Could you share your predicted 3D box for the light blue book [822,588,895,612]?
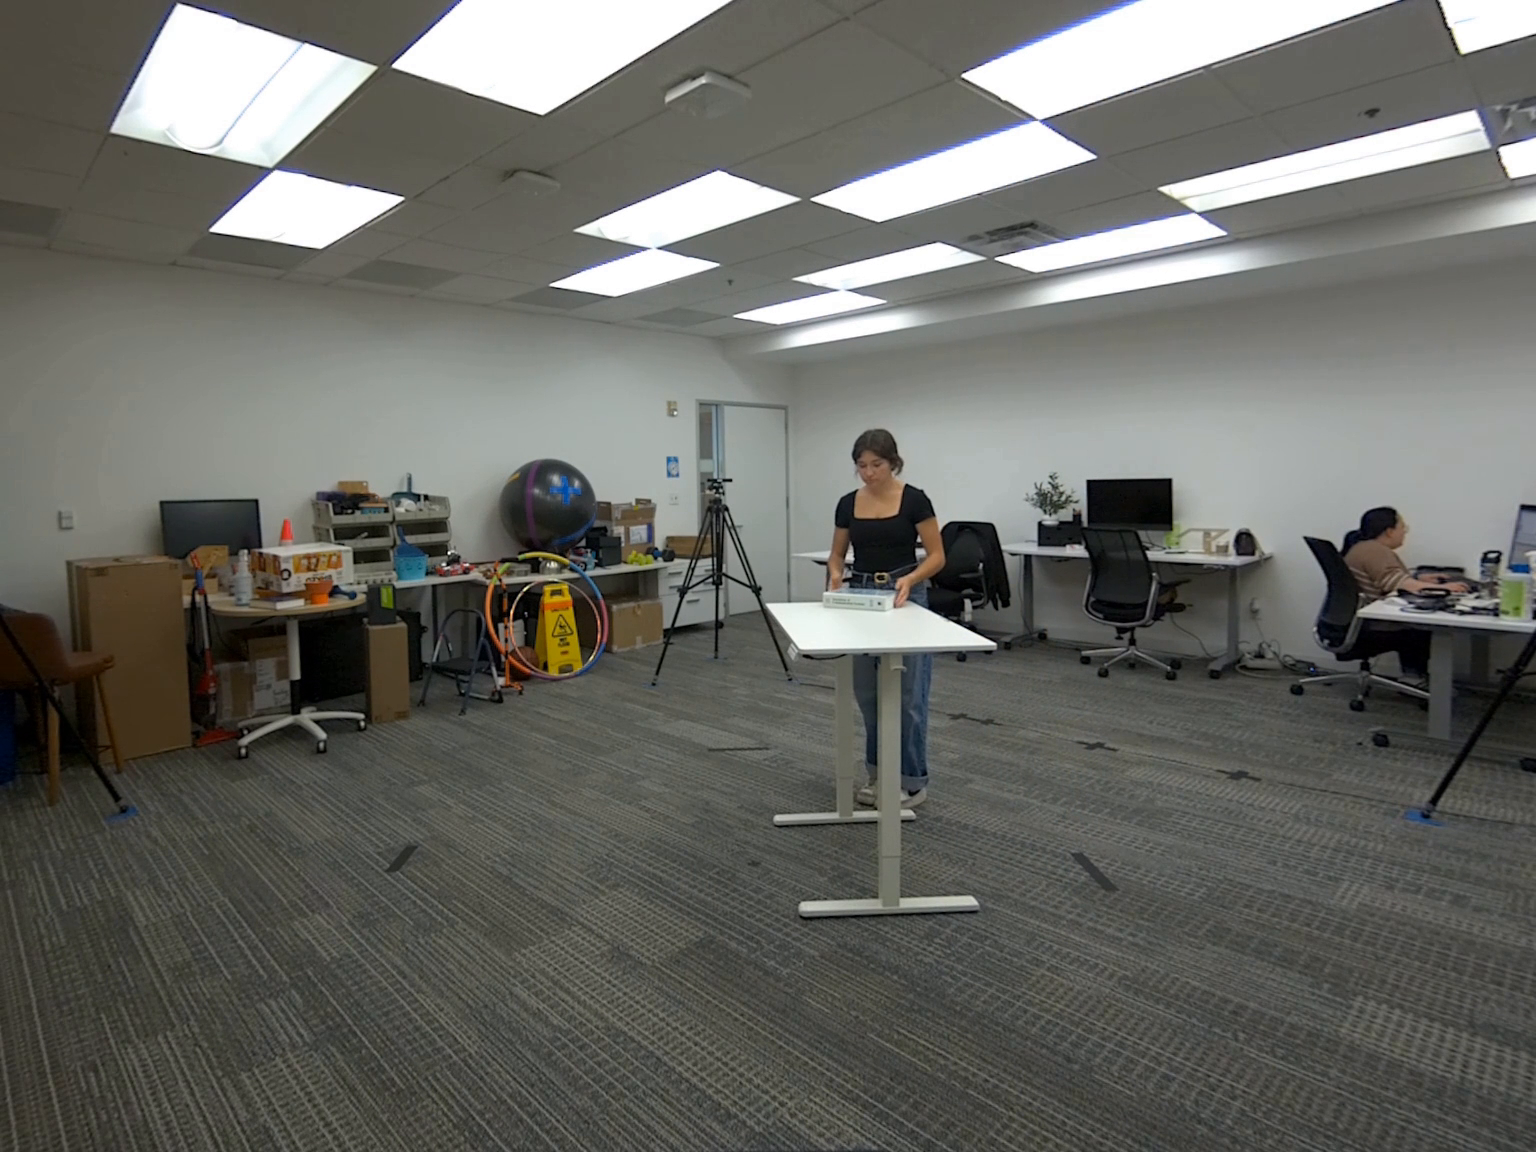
[{"bbox_3d":[0.393,0.096,3.424,0.268,0.059,0.187,3,7,29],"label":"light blue book"}]
